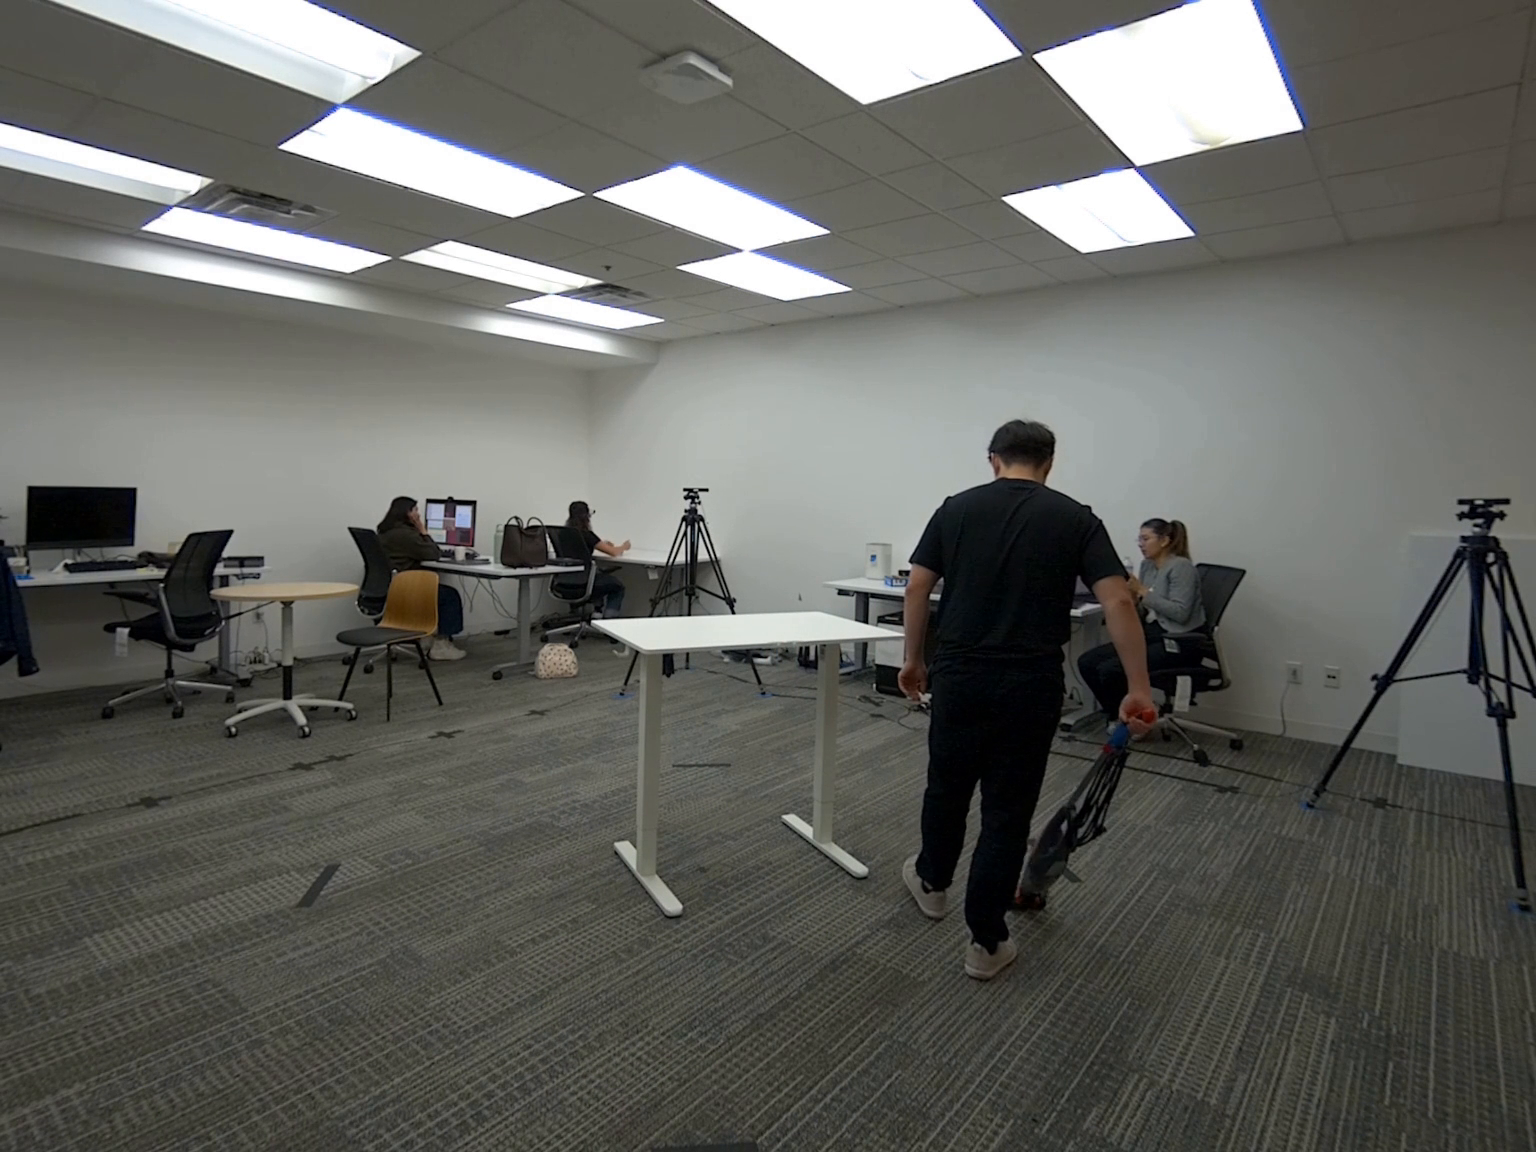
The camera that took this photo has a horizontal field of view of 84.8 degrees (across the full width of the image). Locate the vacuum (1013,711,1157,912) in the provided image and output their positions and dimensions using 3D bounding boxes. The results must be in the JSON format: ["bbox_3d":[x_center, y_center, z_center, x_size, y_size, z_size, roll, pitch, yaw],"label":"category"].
[{"bbox_3d":[0.922,0.740,2.600,0.250,1.024,0.149,0,45,-11],"label":"vacuum"}]
